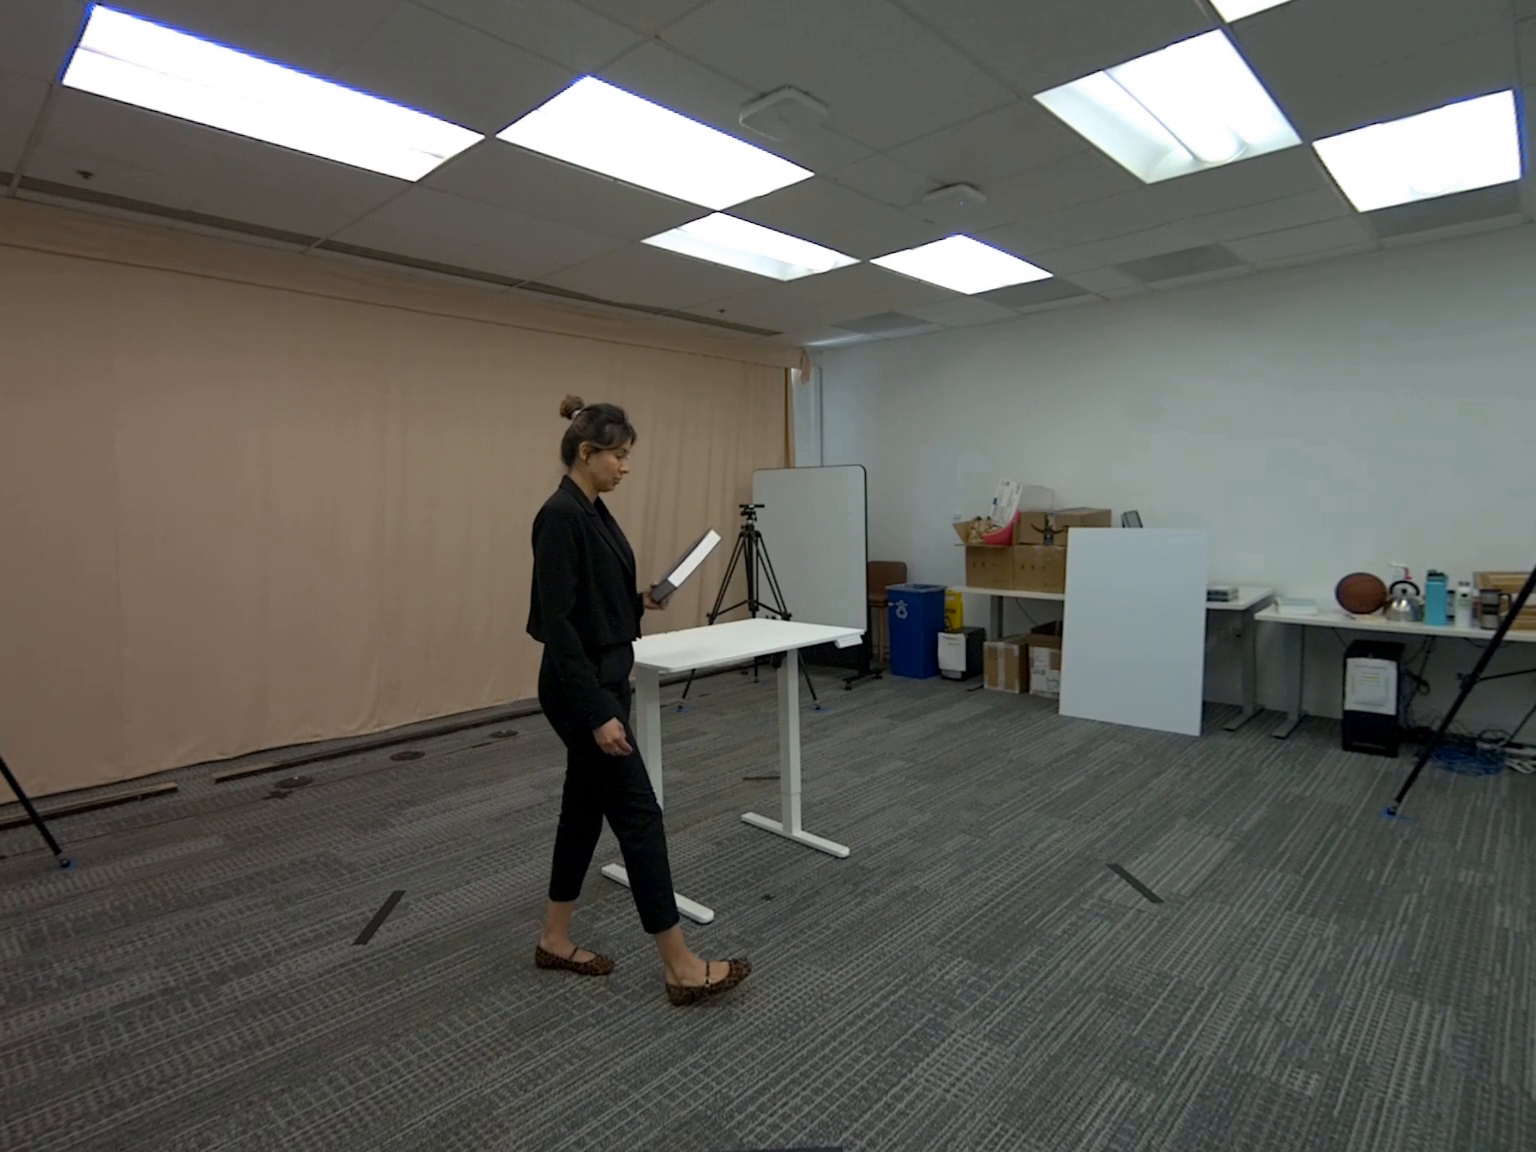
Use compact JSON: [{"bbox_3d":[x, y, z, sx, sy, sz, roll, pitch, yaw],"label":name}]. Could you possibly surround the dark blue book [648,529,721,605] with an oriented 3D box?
[{"bbox_3d":[-0.249,-0.034,2.621,0.166,0.045,0.243,-30,17,53],"label":"dark blue book"}]
